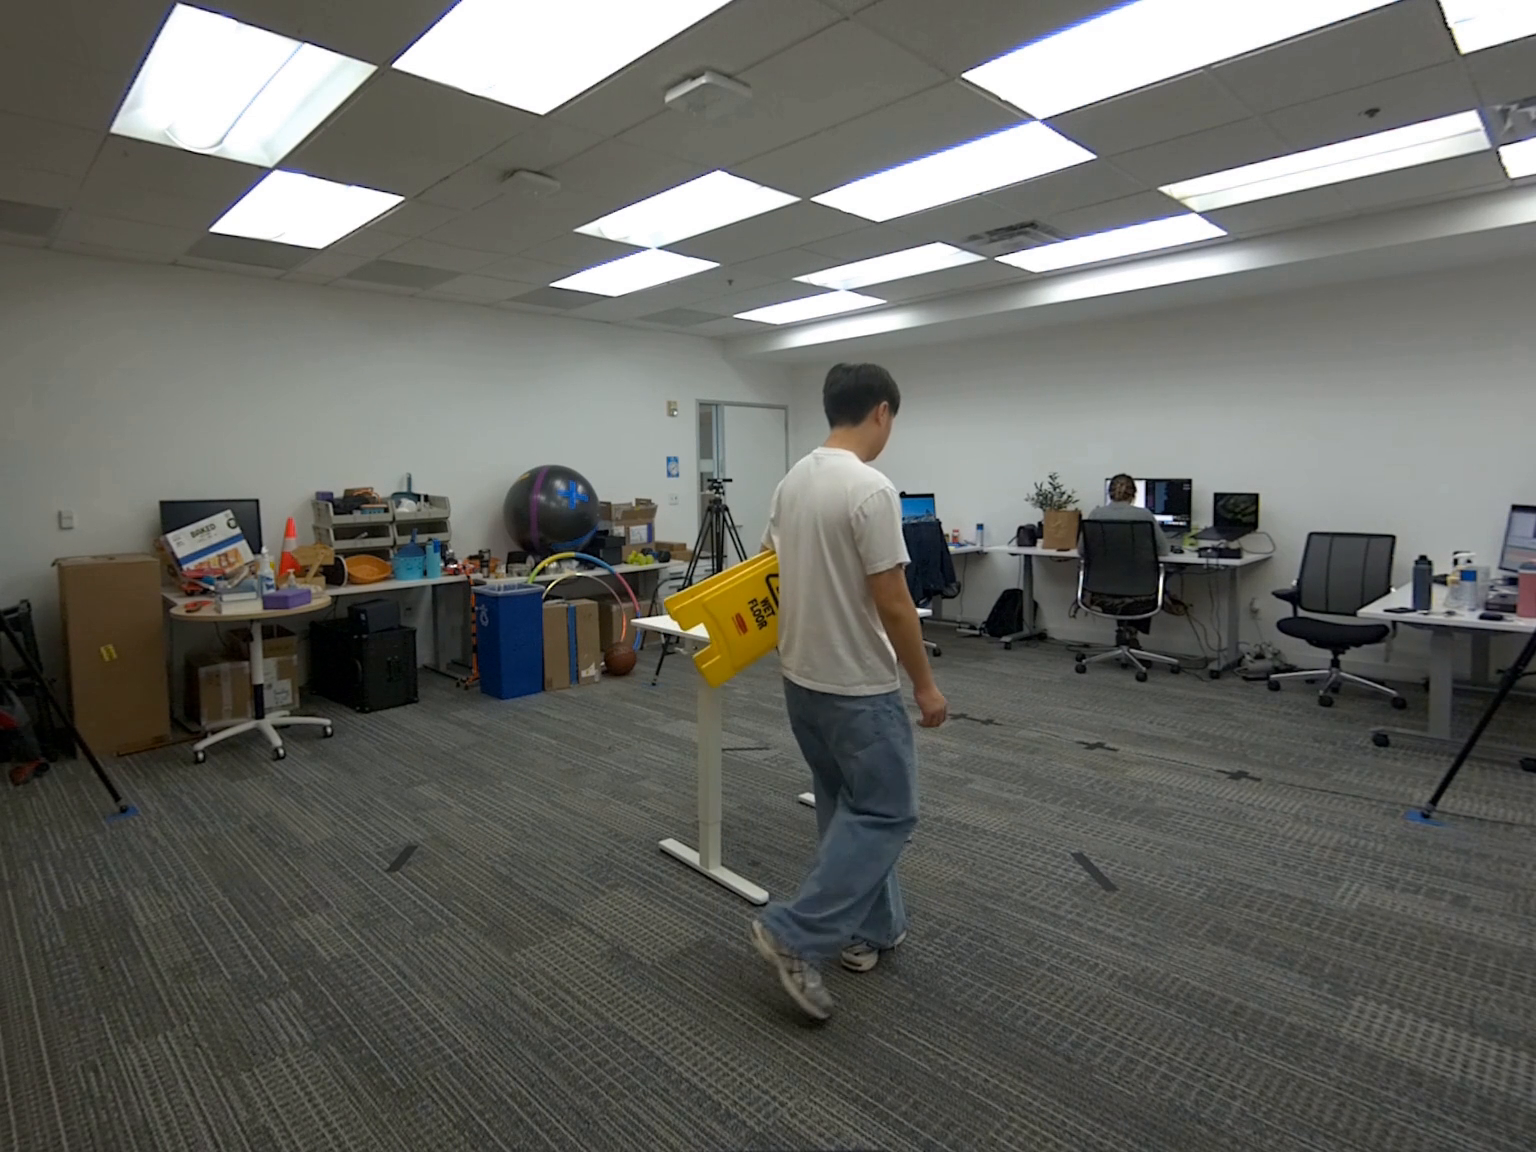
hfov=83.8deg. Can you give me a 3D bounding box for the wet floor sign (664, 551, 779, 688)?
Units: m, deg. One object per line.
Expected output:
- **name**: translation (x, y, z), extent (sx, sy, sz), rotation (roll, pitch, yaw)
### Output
- **wet floor sign**: translation (0.044, 0.040, 2.550), extent (0.643, 0.278, 0.296), rotation (-27, 14, -9)
